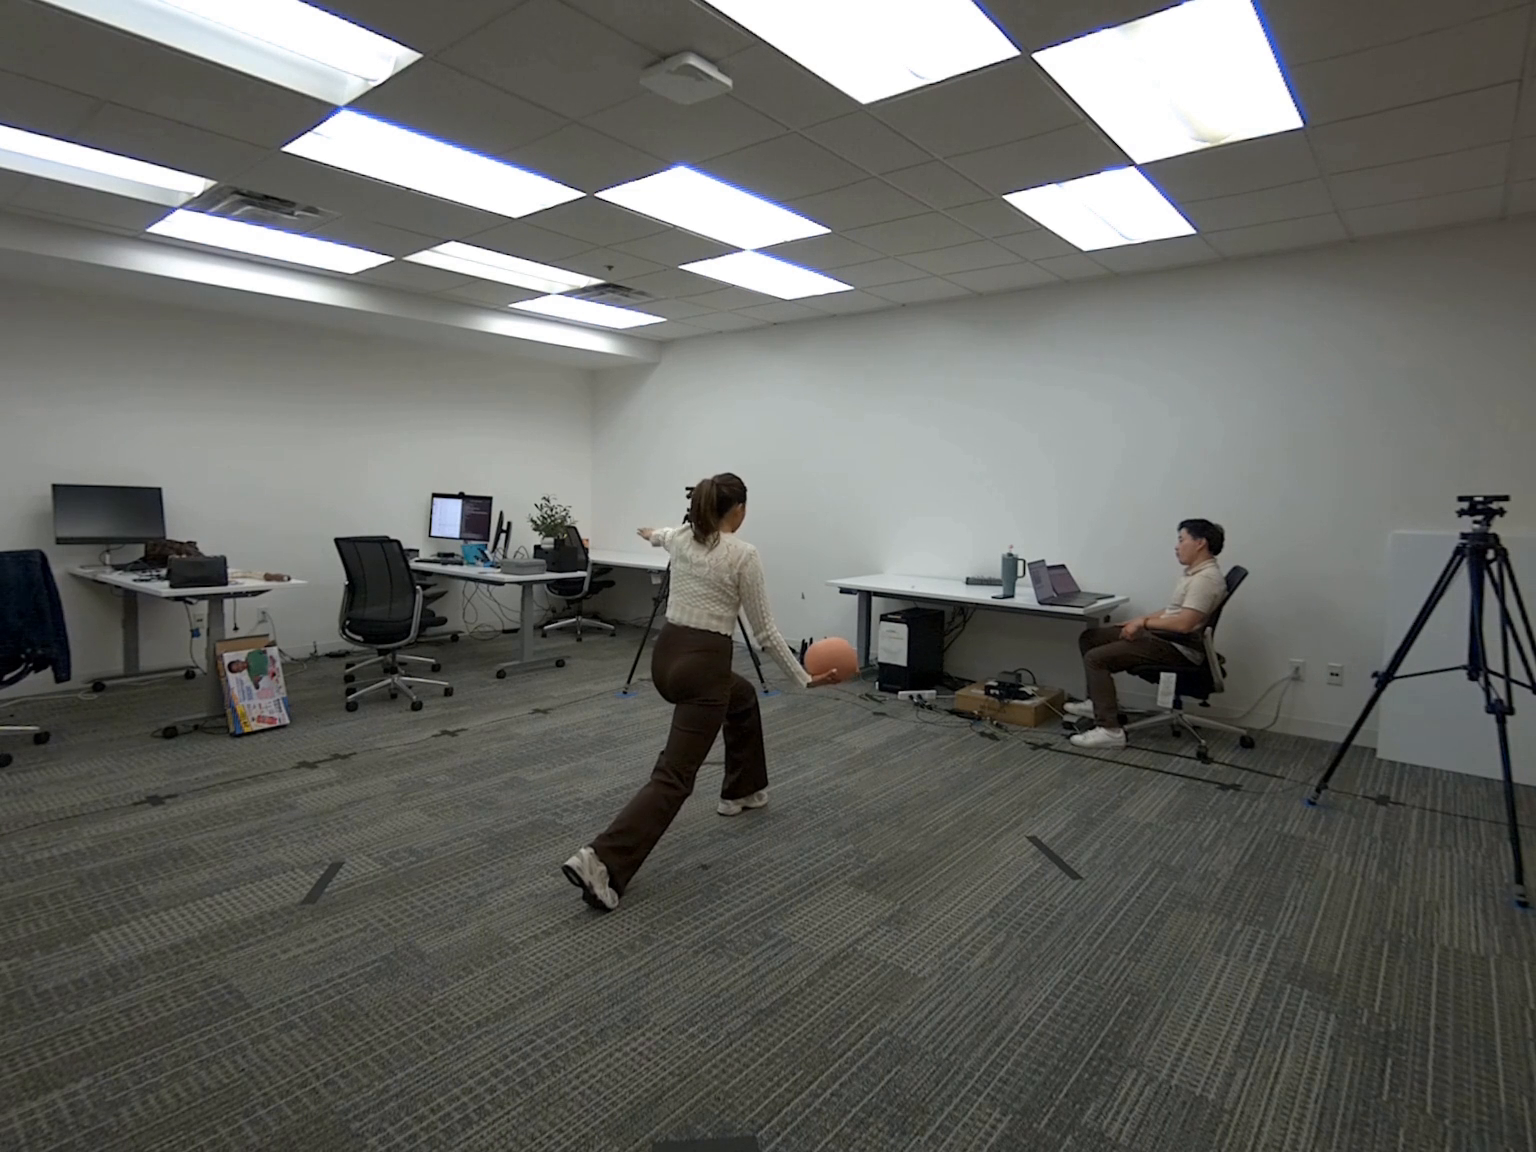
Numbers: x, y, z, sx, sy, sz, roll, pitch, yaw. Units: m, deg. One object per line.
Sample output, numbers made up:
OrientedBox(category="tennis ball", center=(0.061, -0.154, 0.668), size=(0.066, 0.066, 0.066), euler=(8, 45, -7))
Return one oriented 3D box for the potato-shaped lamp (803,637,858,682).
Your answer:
OrientedBox(category="potato-shaped lamp", center=(0.237, 0.330, 3.374), size=(0.195, 0.173, 0.165), euler=(-13, -9, -16))
